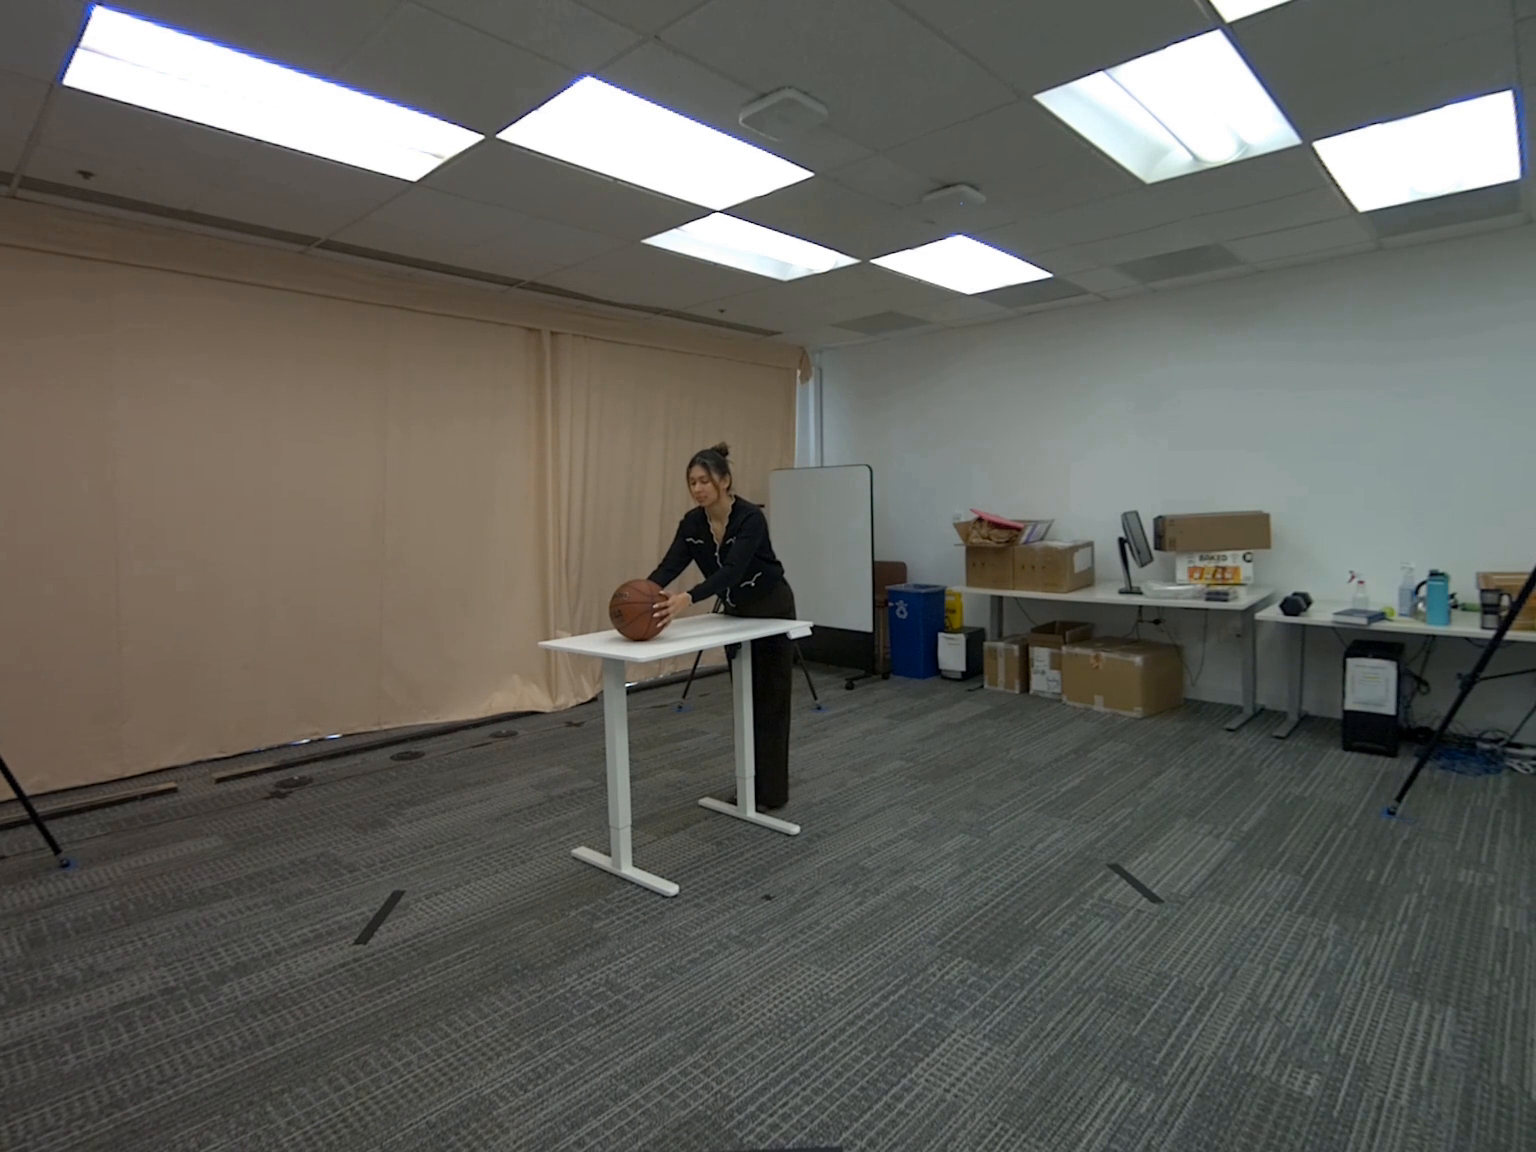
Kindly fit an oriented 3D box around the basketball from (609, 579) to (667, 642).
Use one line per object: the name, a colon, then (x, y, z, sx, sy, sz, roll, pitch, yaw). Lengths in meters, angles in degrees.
basketball: (-0.487, 0.128, 3.252, 0.236, 0.235, 0.237, -1, 4, -2)
